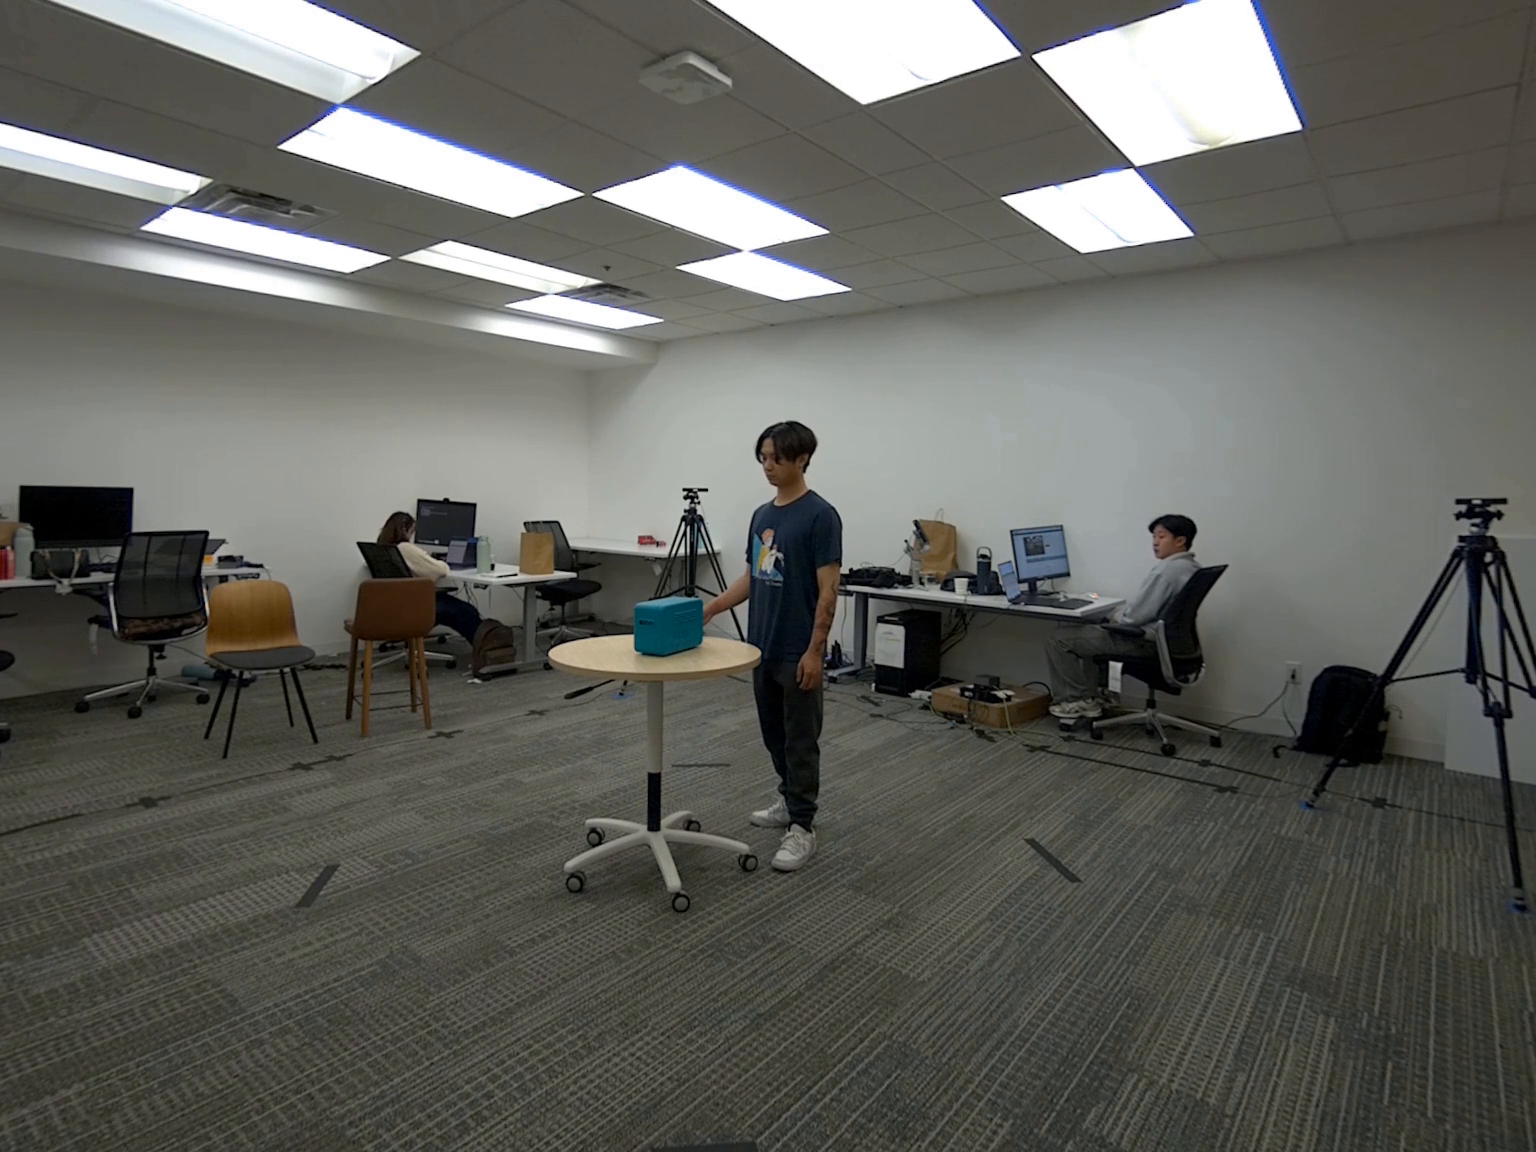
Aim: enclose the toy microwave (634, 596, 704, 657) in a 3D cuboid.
[{"bbox_3d":[-0.383,0.180,3.101,0.156,0.184,0.280,0,4,25],"label":"toy microwave"}]
